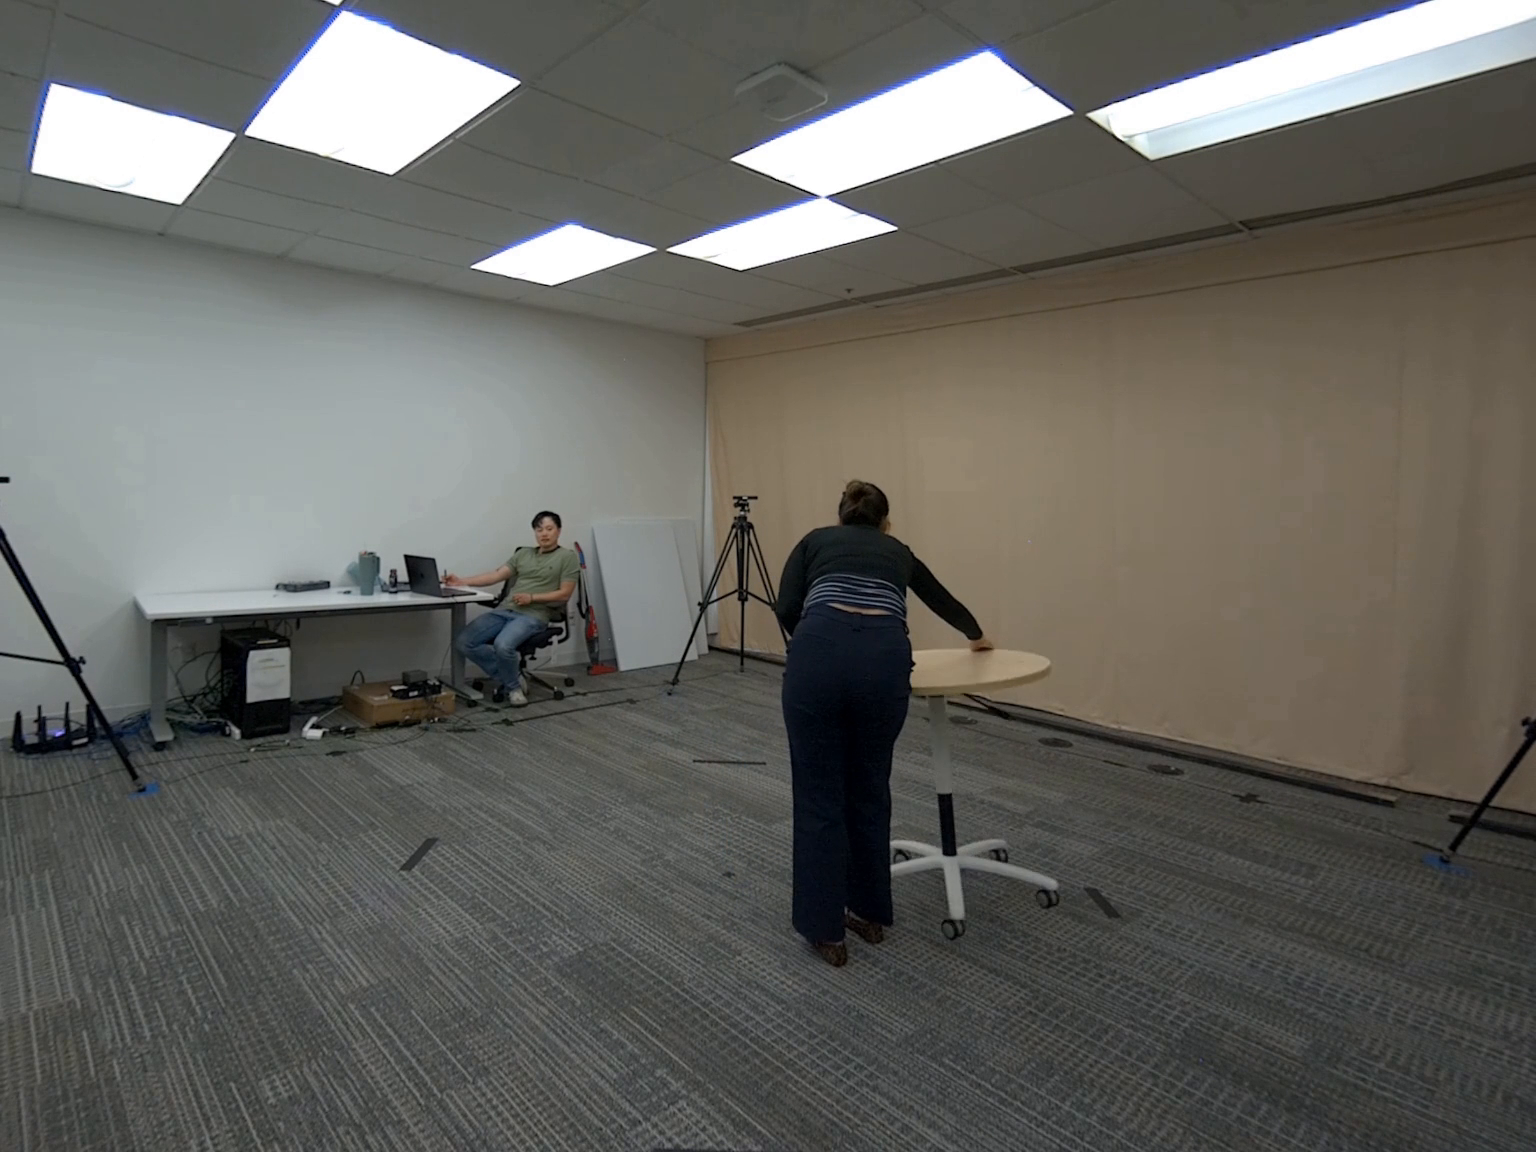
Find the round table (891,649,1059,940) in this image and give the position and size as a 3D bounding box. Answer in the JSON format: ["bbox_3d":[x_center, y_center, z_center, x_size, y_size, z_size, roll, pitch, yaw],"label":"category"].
[{"bbox_3d":[0.600,0.714,2.931,0.763,0.794,0.765,-5,1,-1],"label":"round table"}]
